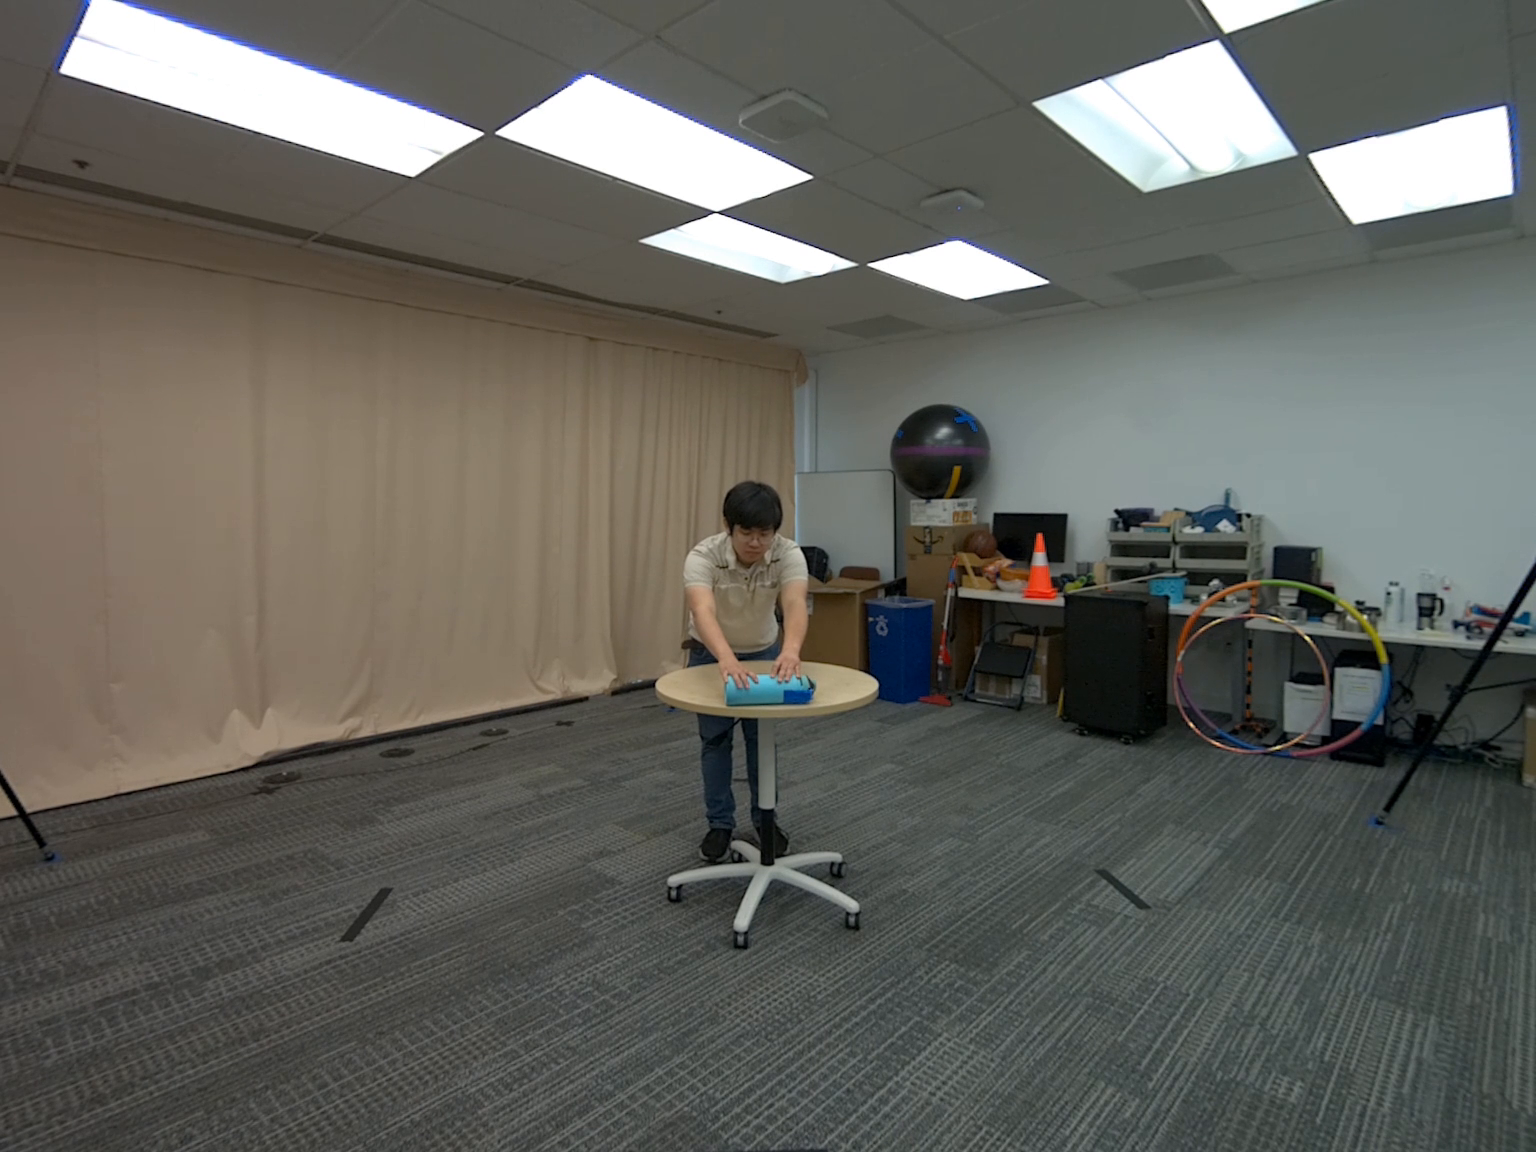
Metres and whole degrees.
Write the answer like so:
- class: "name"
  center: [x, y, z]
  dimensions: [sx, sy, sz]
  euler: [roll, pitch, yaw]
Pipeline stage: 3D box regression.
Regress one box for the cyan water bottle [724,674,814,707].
- class: "cyan water bottle"
  center: [0.011, 0.351, 2.610]
  dimensions: [0.283, 0.092, 0.092]
  euler: [0, 4, -1]
